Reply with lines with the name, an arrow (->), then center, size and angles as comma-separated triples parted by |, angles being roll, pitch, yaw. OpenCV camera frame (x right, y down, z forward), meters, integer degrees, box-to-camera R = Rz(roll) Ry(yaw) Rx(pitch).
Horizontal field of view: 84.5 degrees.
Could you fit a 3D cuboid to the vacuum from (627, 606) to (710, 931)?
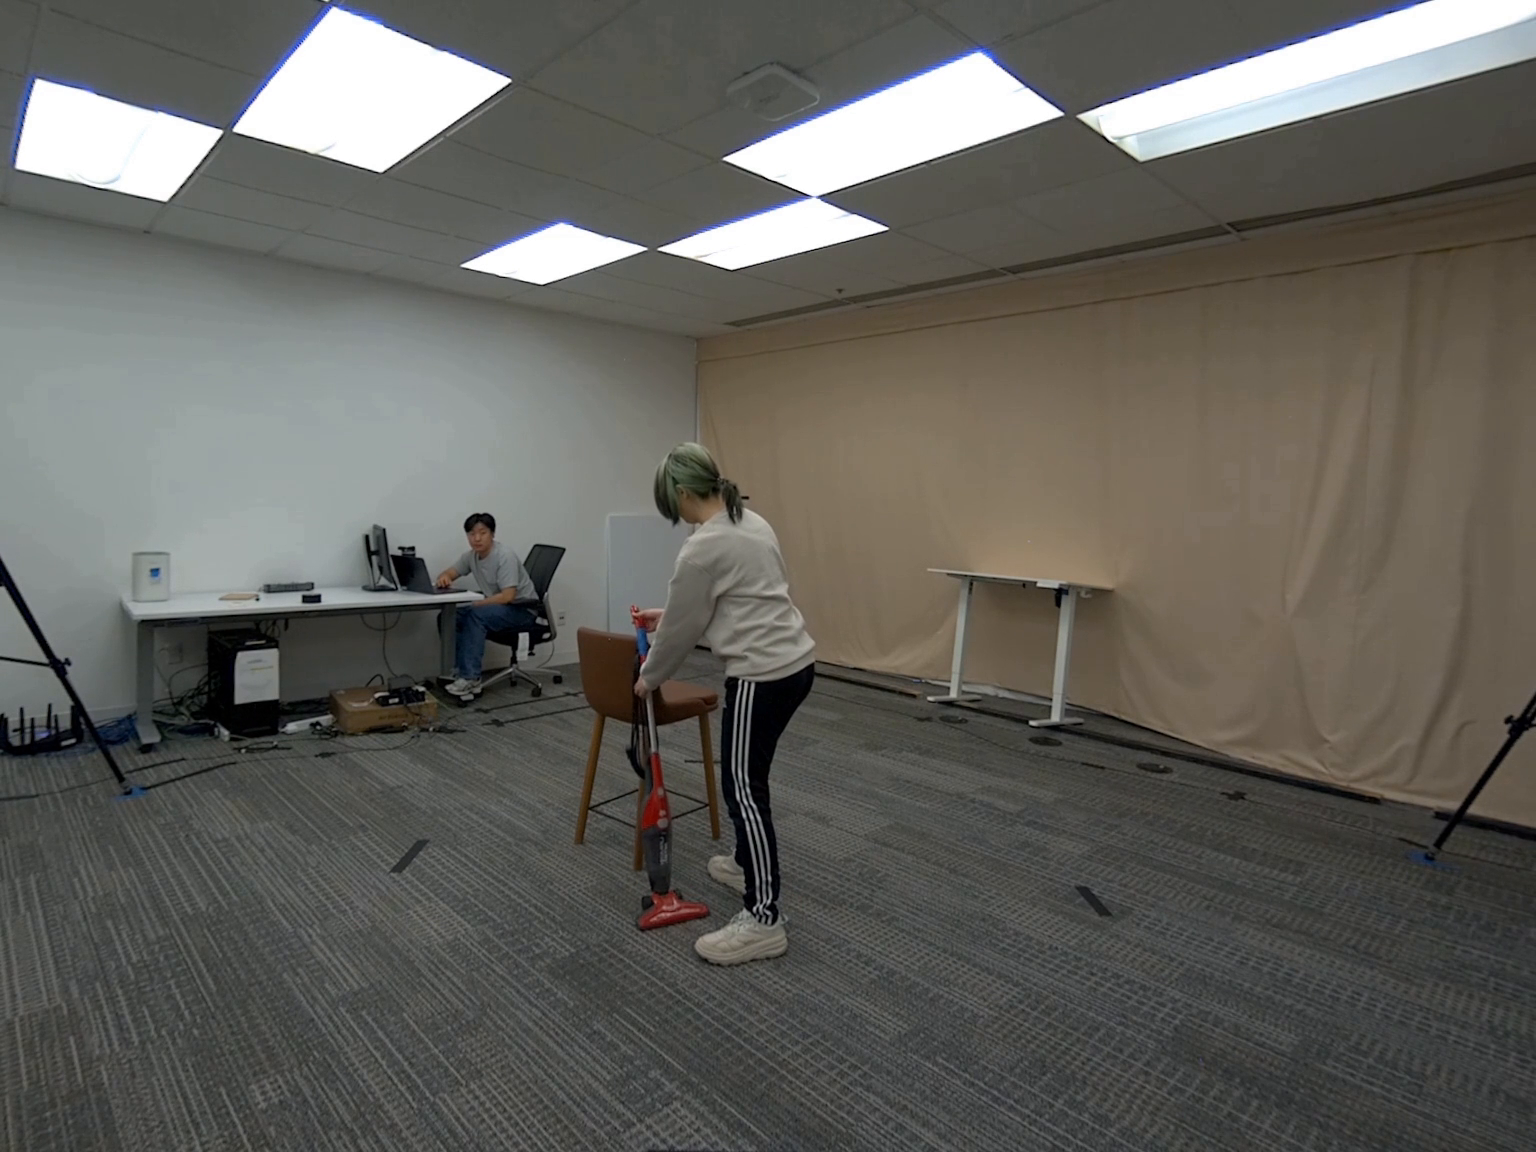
vacuum -> -0.424, 0.627, 2.949 | 0.247, 1.064, 0.145 | 1, -19, -32
